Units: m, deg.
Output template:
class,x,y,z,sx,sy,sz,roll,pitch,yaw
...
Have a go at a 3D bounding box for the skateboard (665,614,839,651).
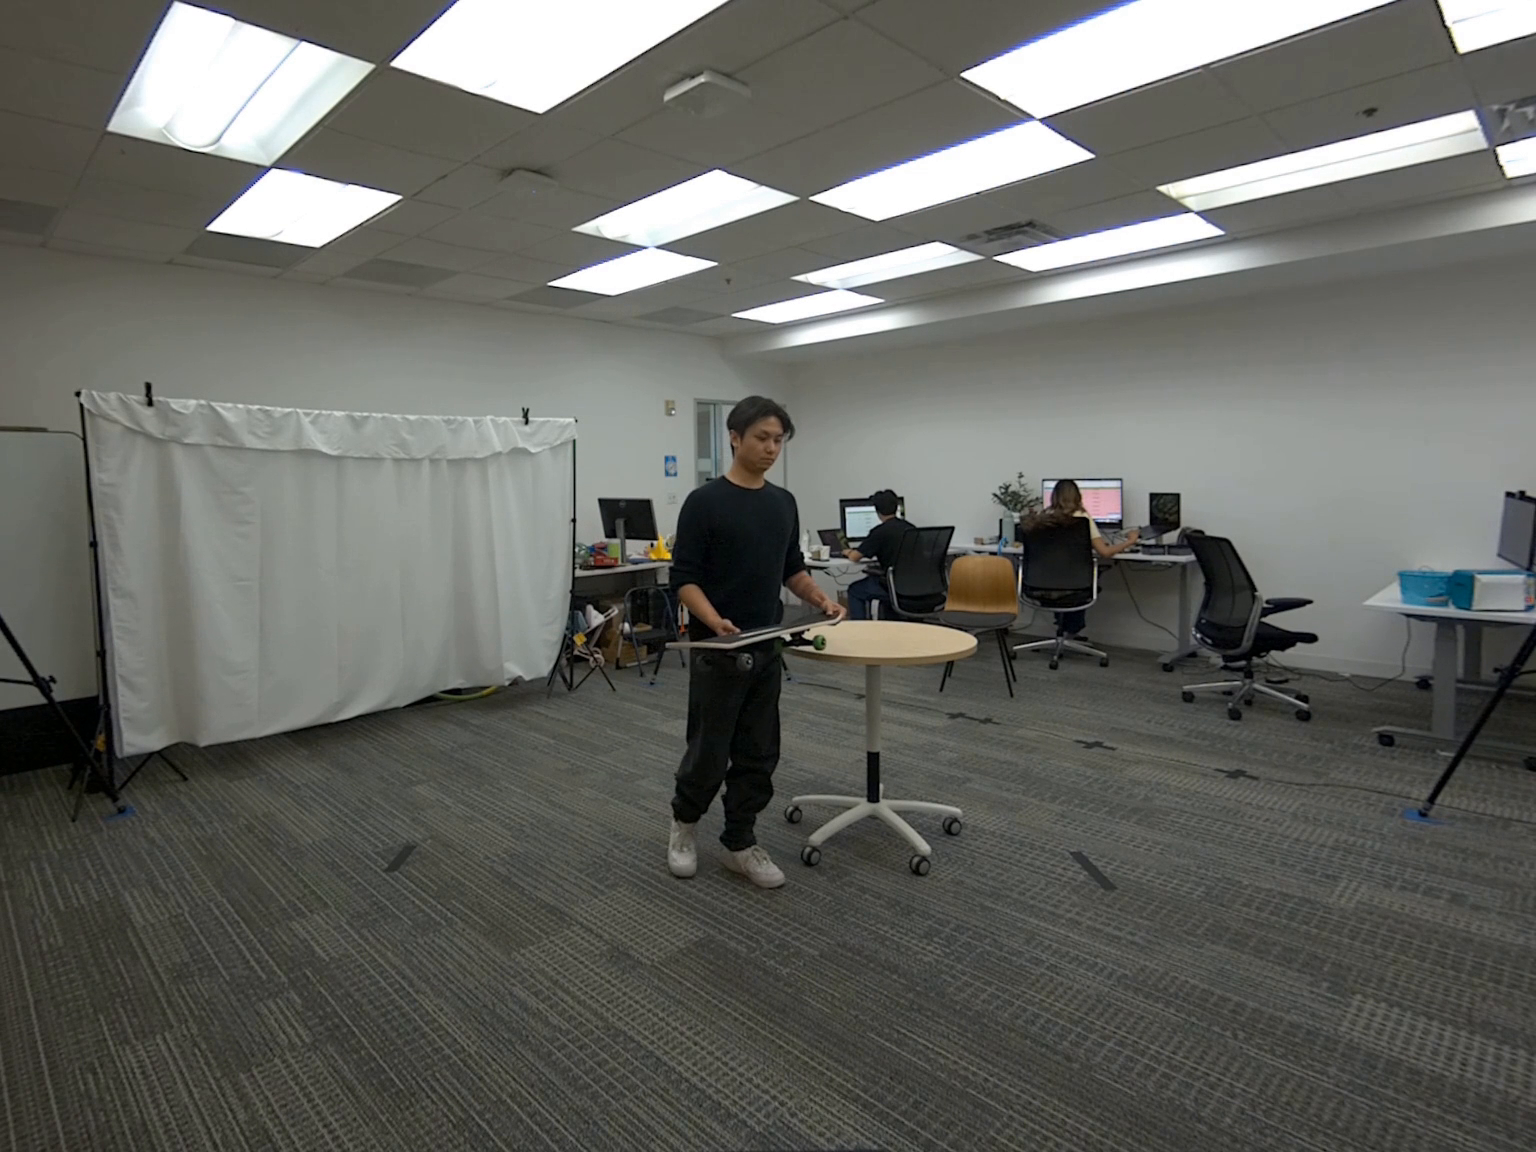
class,x,y,z,sx,sy,sz,roll,pitch,yaw
skateboard,-0.012,0.219,2.640,0.198,0.110,0.766,-8,0,35
